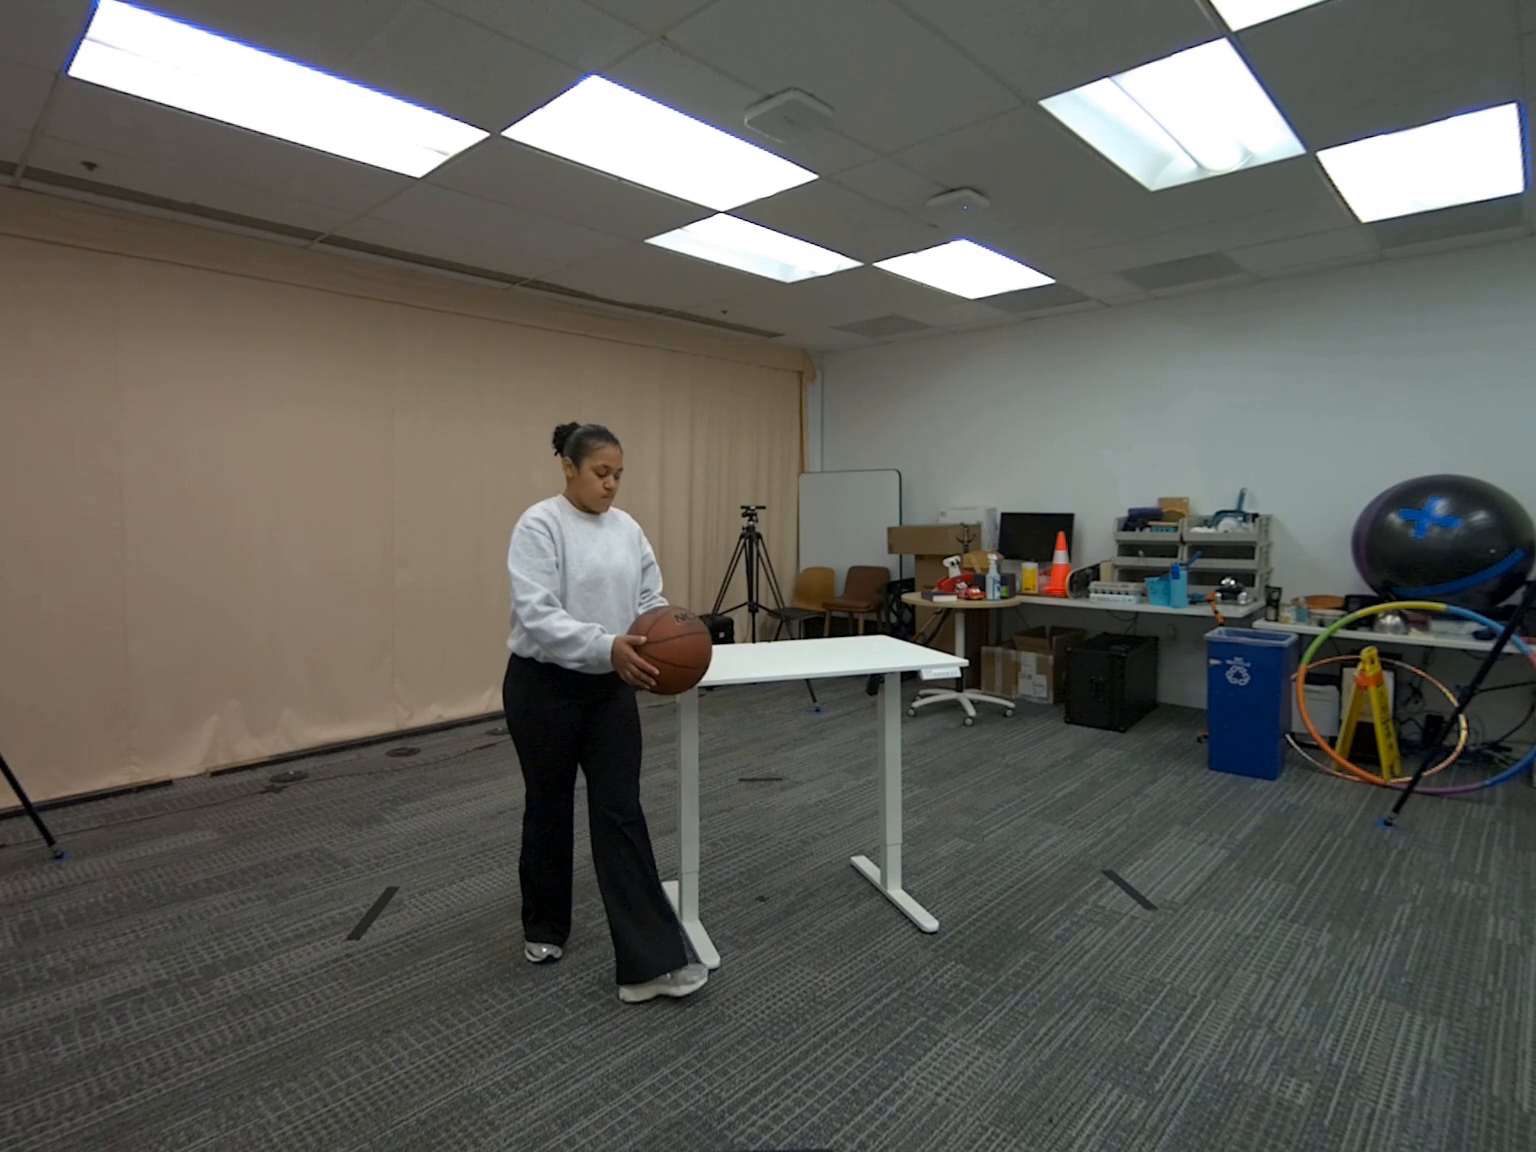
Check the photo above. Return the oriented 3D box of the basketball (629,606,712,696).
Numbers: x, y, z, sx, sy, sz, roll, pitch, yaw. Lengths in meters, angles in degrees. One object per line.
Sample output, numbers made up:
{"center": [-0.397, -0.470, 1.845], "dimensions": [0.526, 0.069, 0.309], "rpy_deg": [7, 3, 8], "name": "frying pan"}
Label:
{"center": [-0.263, 0.195, 2.223], "dimensions": [0.236, 0.235, 0.237], "rpy_deg": [0, 4, -2], "name": "basketball"}
